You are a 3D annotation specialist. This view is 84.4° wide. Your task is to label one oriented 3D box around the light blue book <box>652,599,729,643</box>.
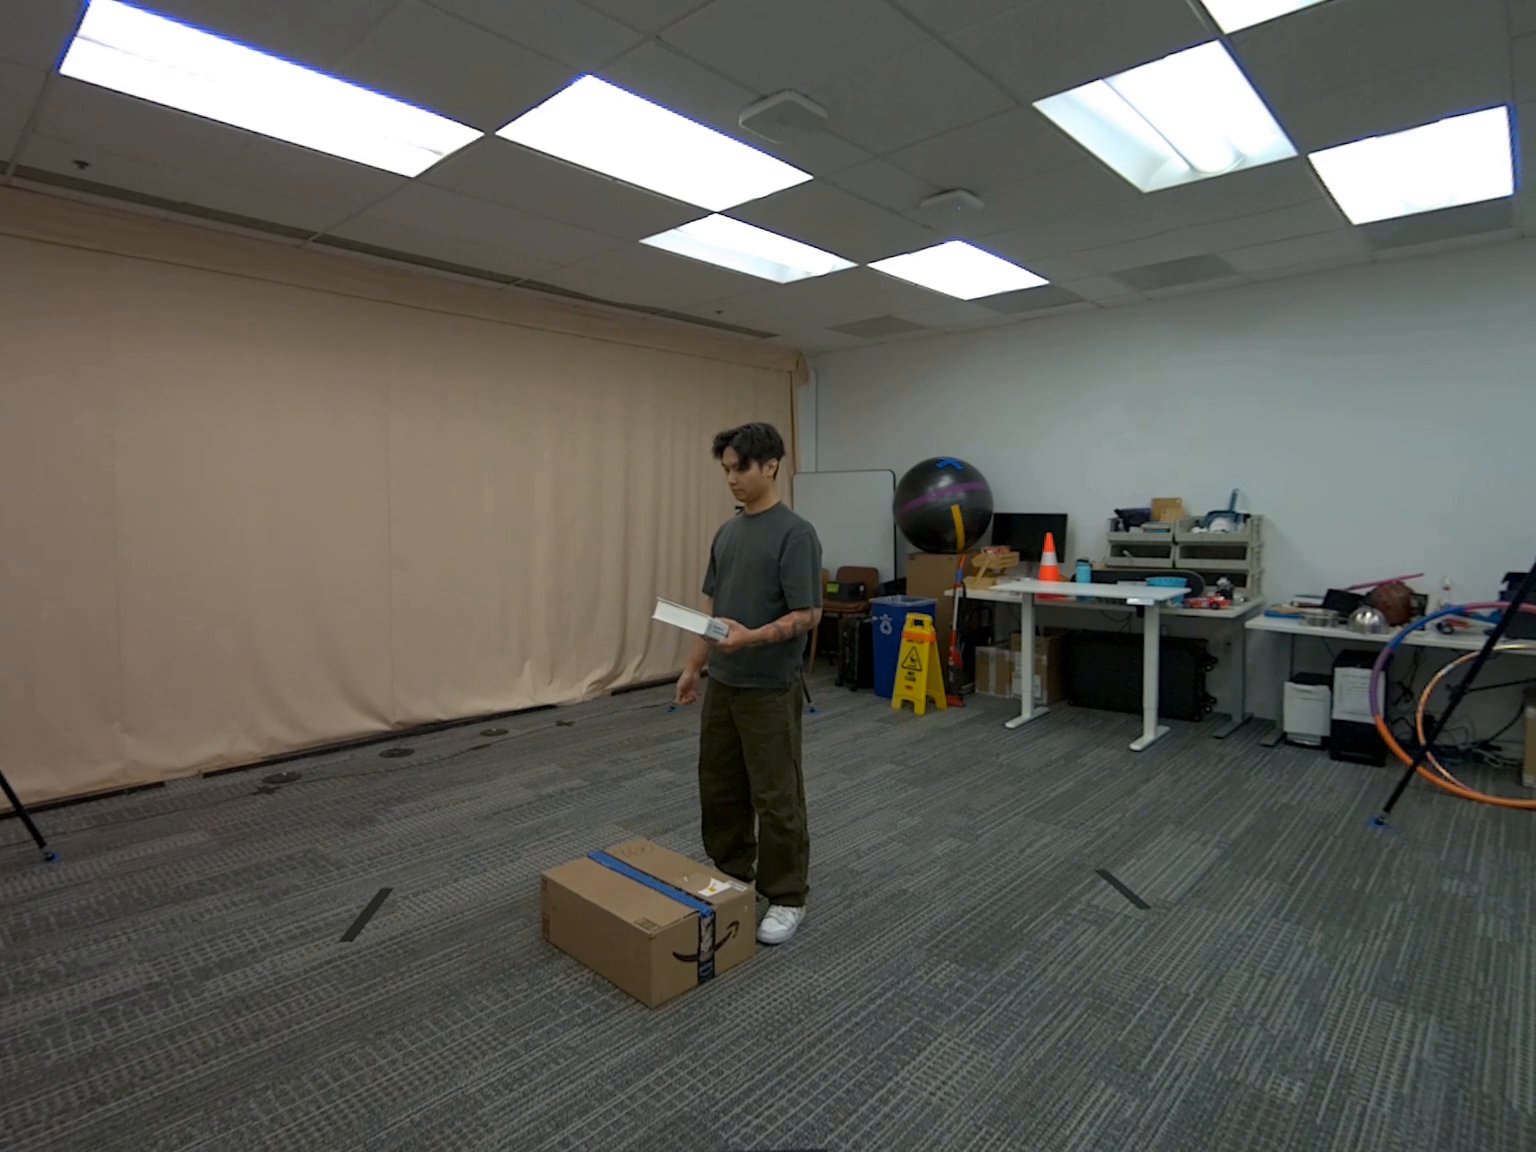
[{"bbox_3d":[-0.215,0.151,2.594,0.197,0.059,0.253,17,-6,27],"label":"light blue book"}]
